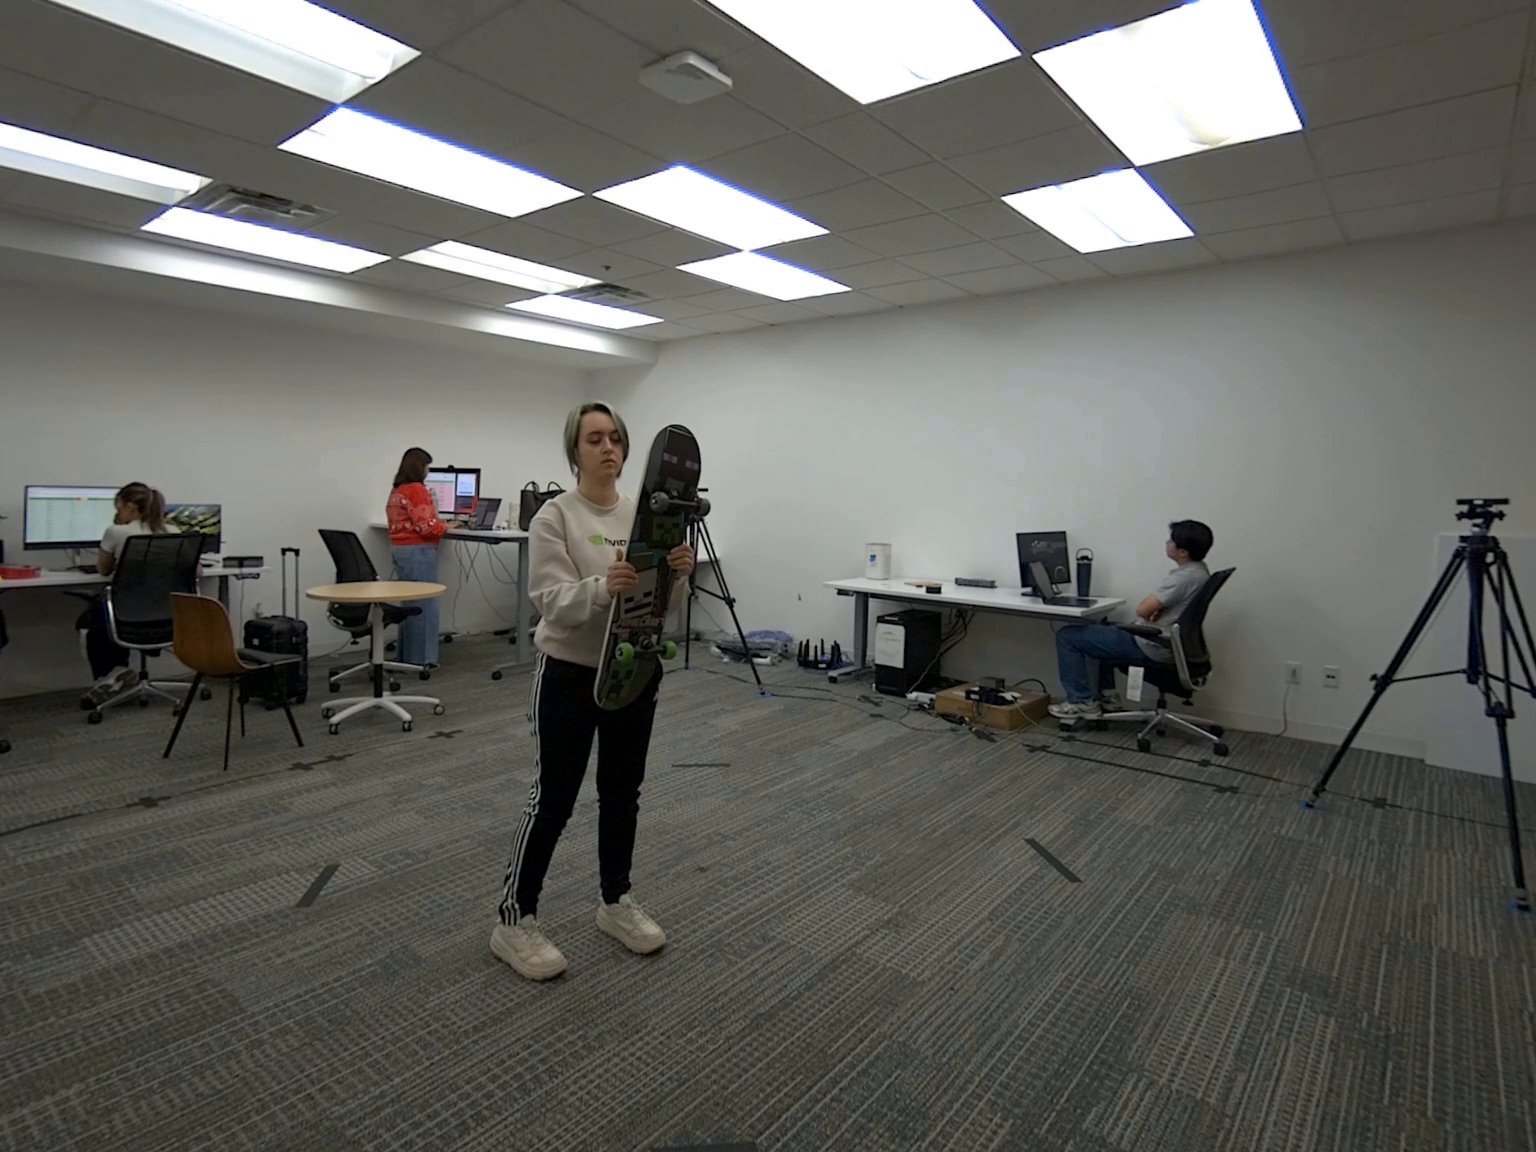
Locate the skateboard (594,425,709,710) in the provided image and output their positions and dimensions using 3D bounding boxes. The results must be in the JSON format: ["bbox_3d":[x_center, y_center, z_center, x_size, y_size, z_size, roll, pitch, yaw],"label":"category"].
[{"bbox_3d":[-0.305,-0.004,2.227,0.115,0.781,0.187,22,11,41],"label":"skateboard"}]
